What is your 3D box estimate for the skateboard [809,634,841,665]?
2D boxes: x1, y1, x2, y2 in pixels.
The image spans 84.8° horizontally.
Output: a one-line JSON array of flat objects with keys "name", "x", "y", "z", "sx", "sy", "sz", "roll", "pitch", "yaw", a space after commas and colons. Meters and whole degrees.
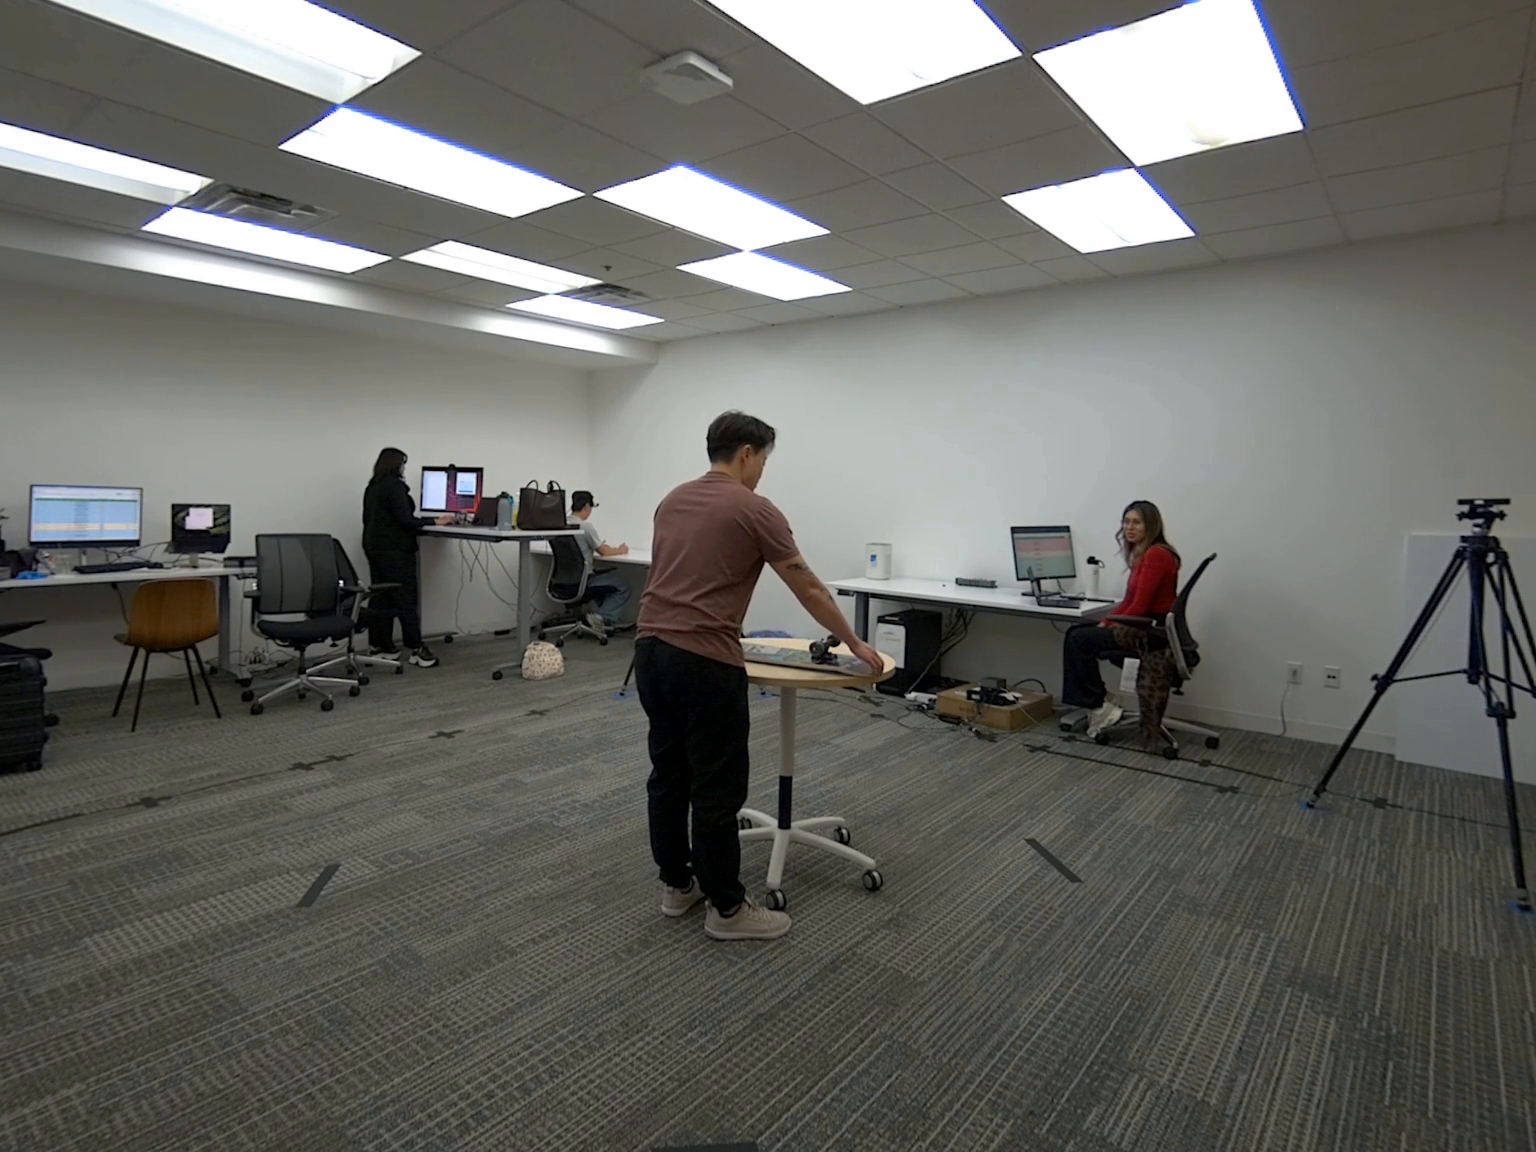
[{"name": "skateboard", "x": 0.013, "y": 0.246, "z": 3.049, "sx": 0.809, "sy": 0.110, "sz": 0.189, "roll": 4, "pitch": 7, "yaw": 30}]
